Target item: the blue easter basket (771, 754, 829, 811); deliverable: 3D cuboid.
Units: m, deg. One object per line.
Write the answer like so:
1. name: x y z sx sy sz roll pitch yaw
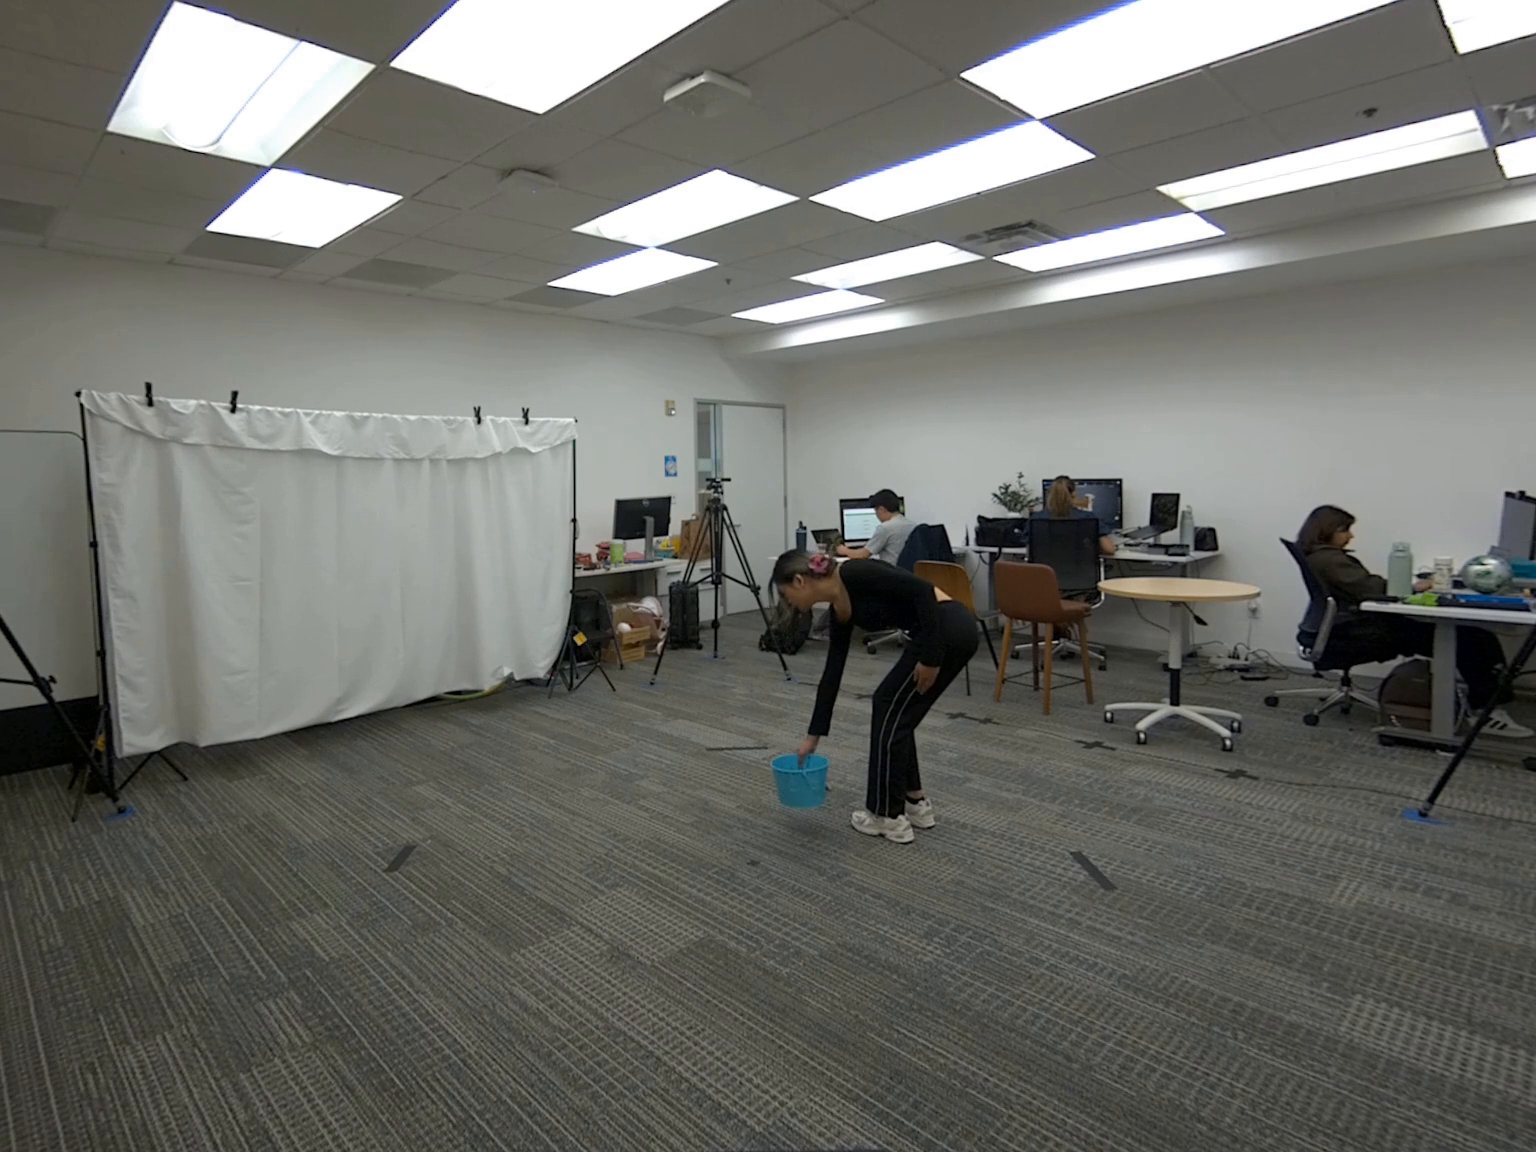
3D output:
1. blue easter basket: 0.144 0.805 3.365 0.243 0.155 0.245 -3 5 -1
